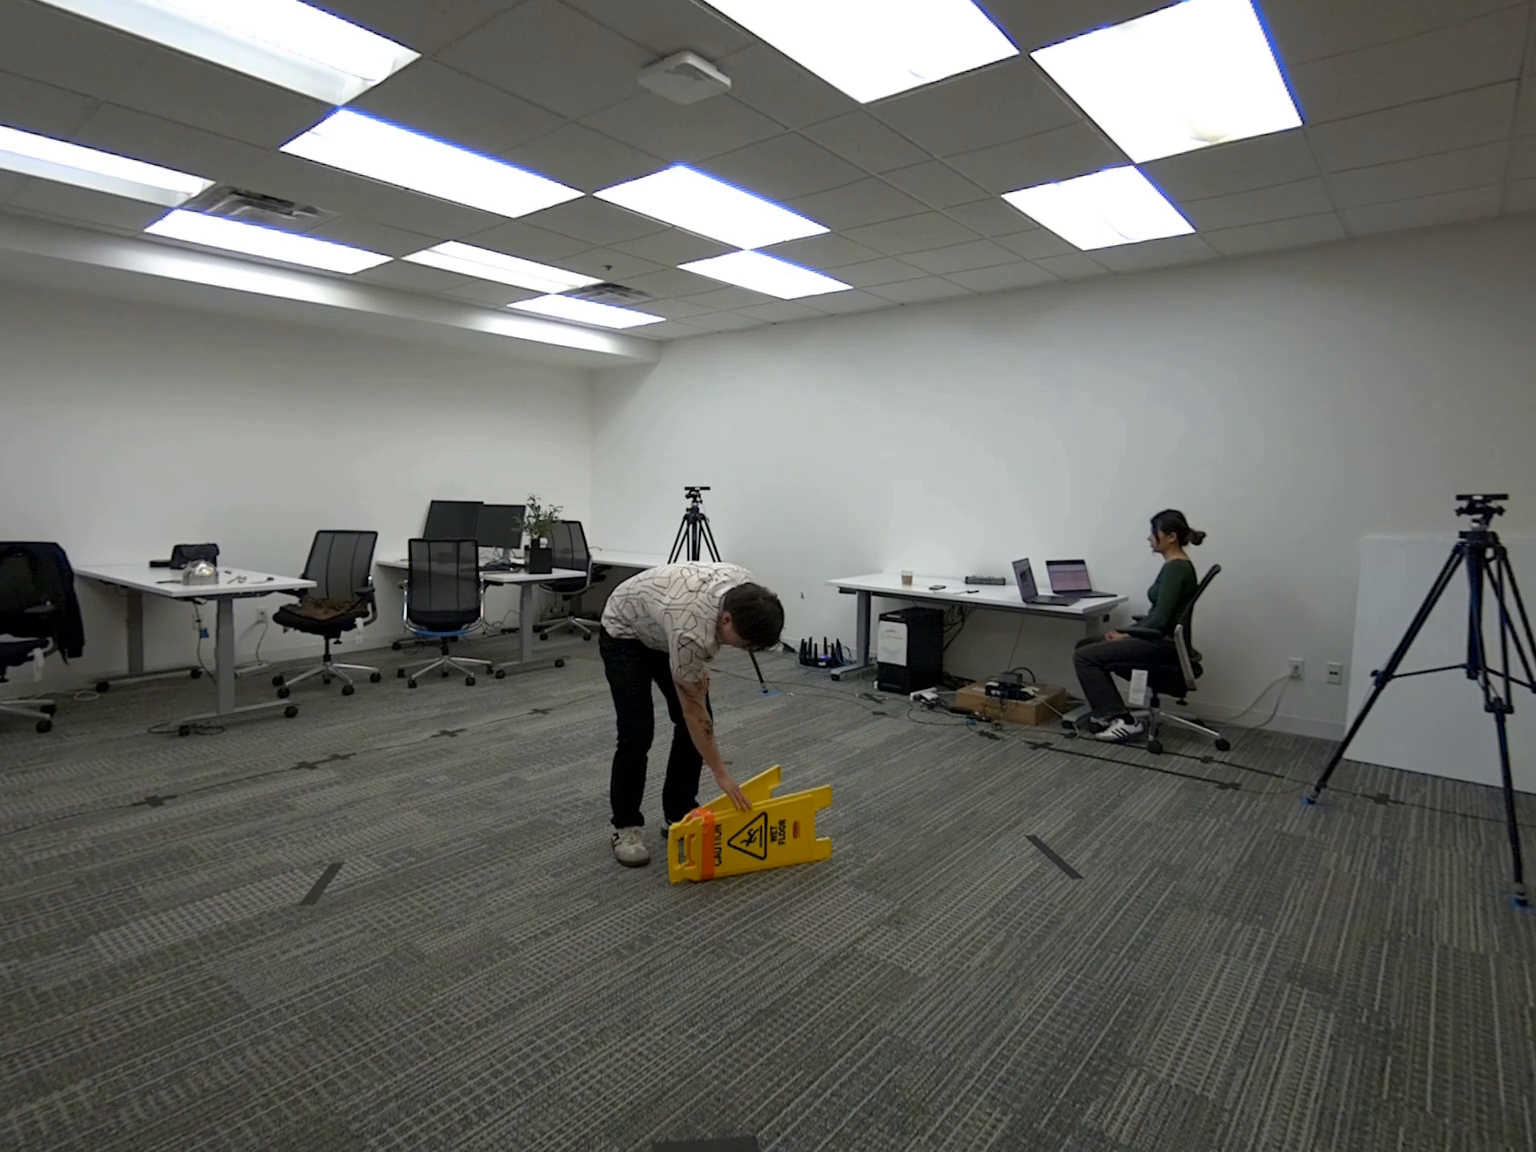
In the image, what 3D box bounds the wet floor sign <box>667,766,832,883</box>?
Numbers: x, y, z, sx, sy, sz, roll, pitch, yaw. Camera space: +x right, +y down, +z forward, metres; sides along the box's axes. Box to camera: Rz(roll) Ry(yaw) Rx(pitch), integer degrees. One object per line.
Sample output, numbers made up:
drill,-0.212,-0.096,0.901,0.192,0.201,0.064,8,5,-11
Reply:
wet floor sign,-0.105,0.933,3.127,0.628,0.281,0.299,-6,7,-39
